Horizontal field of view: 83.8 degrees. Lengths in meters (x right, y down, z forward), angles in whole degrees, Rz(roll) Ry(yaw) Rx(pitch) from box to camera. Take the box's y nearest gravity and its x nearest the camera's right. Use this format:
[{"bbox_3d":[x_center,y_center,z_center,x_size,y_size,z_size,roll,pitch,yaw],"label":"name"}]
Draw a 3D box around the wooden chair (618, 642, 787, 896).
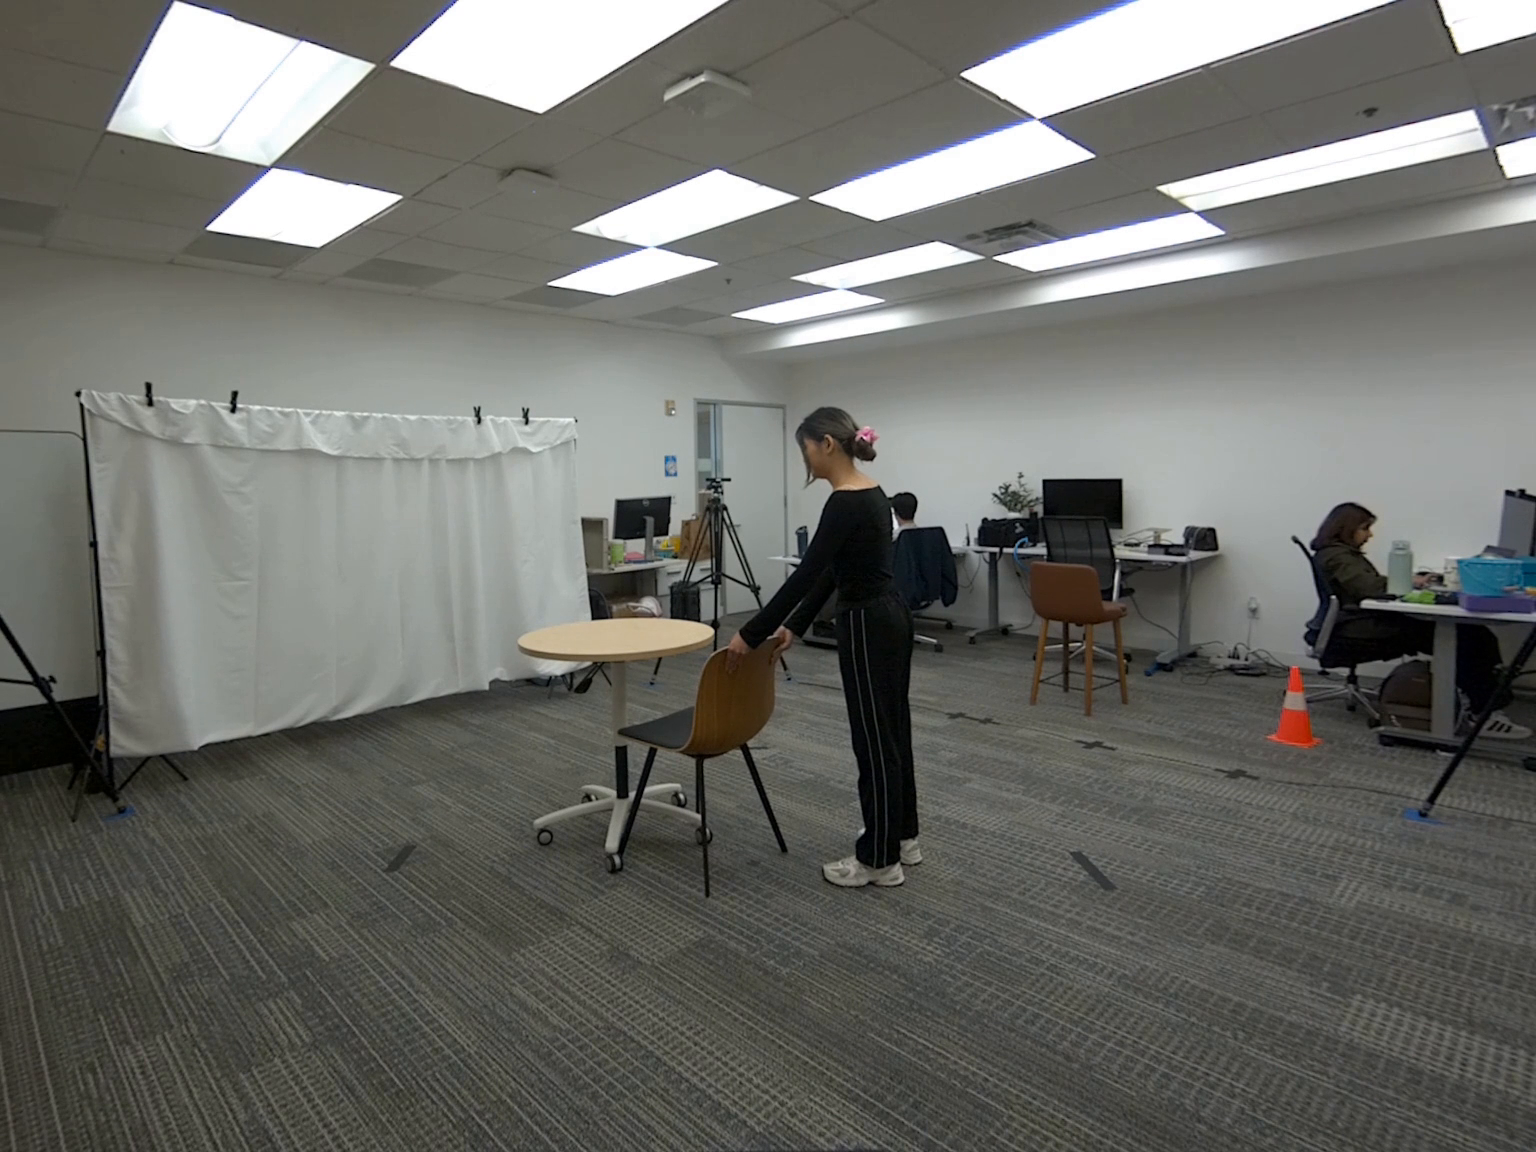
[{"bbox_3d":[-0.251,0.610,3.131,0.540,0.871,0.466,9,10,39],"label":"wooden chair"}]
